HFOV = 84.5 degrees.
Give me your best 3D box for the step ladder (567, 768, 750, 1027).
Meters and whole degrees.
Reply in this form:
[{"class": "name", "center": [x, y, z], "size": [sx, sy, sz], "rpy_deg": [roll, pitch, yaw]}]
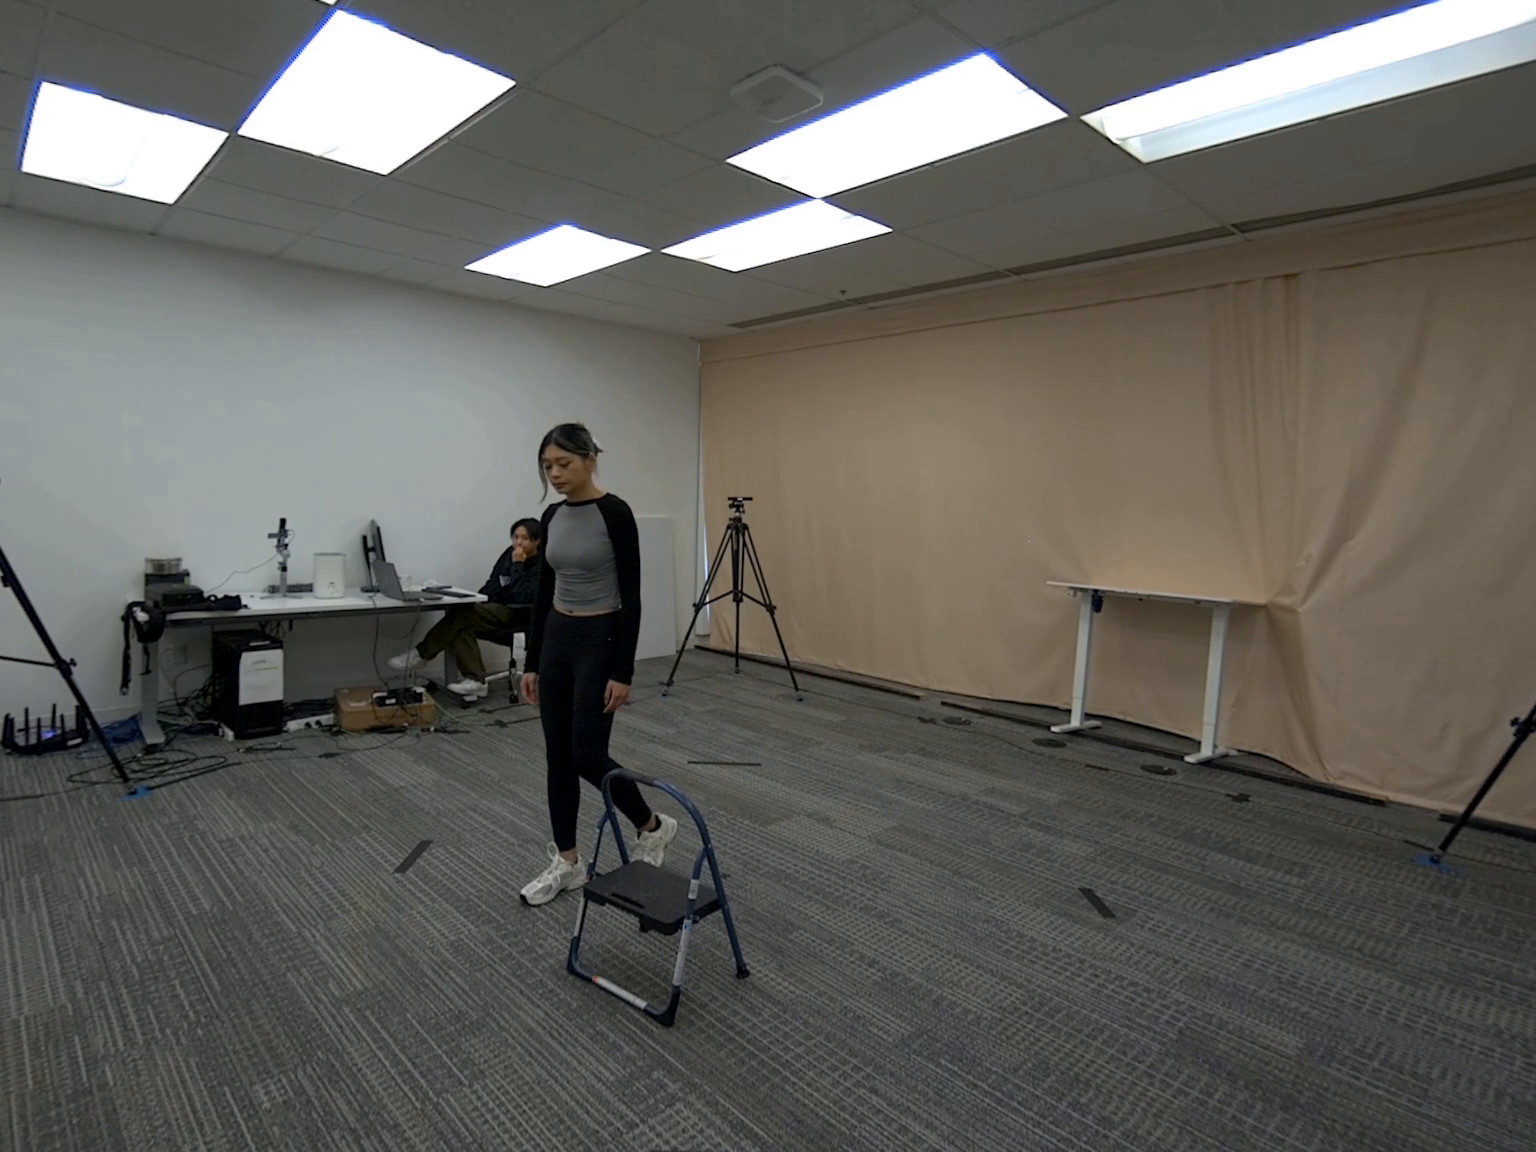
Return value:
[{"class": "step ladder", "center": [-0.322, 0.861, 2.445], "size": [0.441, 0.605, 0.341], "rpy_deg": [4, 4, 37]}]
